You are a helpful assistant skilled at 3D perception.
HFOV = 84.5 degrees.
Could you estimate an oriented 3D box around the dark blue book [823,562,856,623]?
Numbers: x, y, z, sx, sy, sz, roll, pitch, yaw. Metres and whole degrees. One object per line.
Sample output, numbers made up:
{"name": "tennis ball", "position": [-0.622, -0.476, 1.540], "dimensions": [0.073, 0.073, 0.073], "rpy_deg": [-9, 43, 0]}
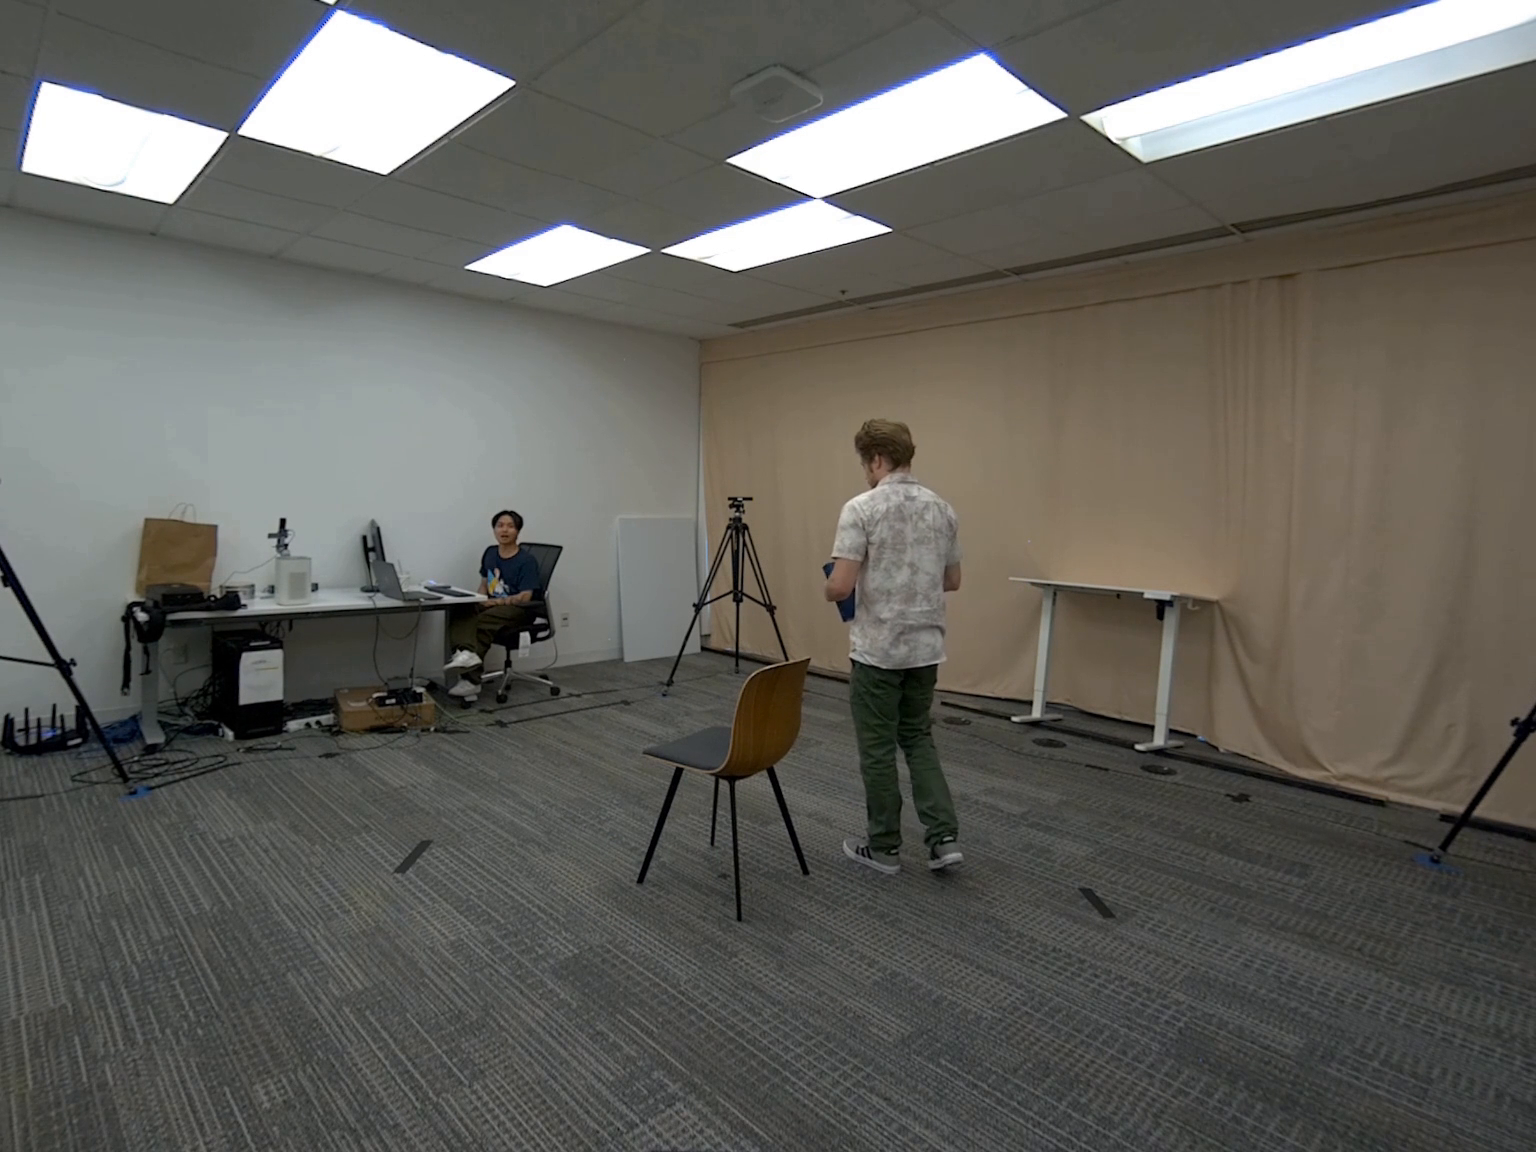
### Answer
{"name": "dark blue book", "position": [0.352, 0.057, 3.405], "dimensions": [0.161, 0.249, 0.045], "rpy_deg": [-10, -20, -27]}
